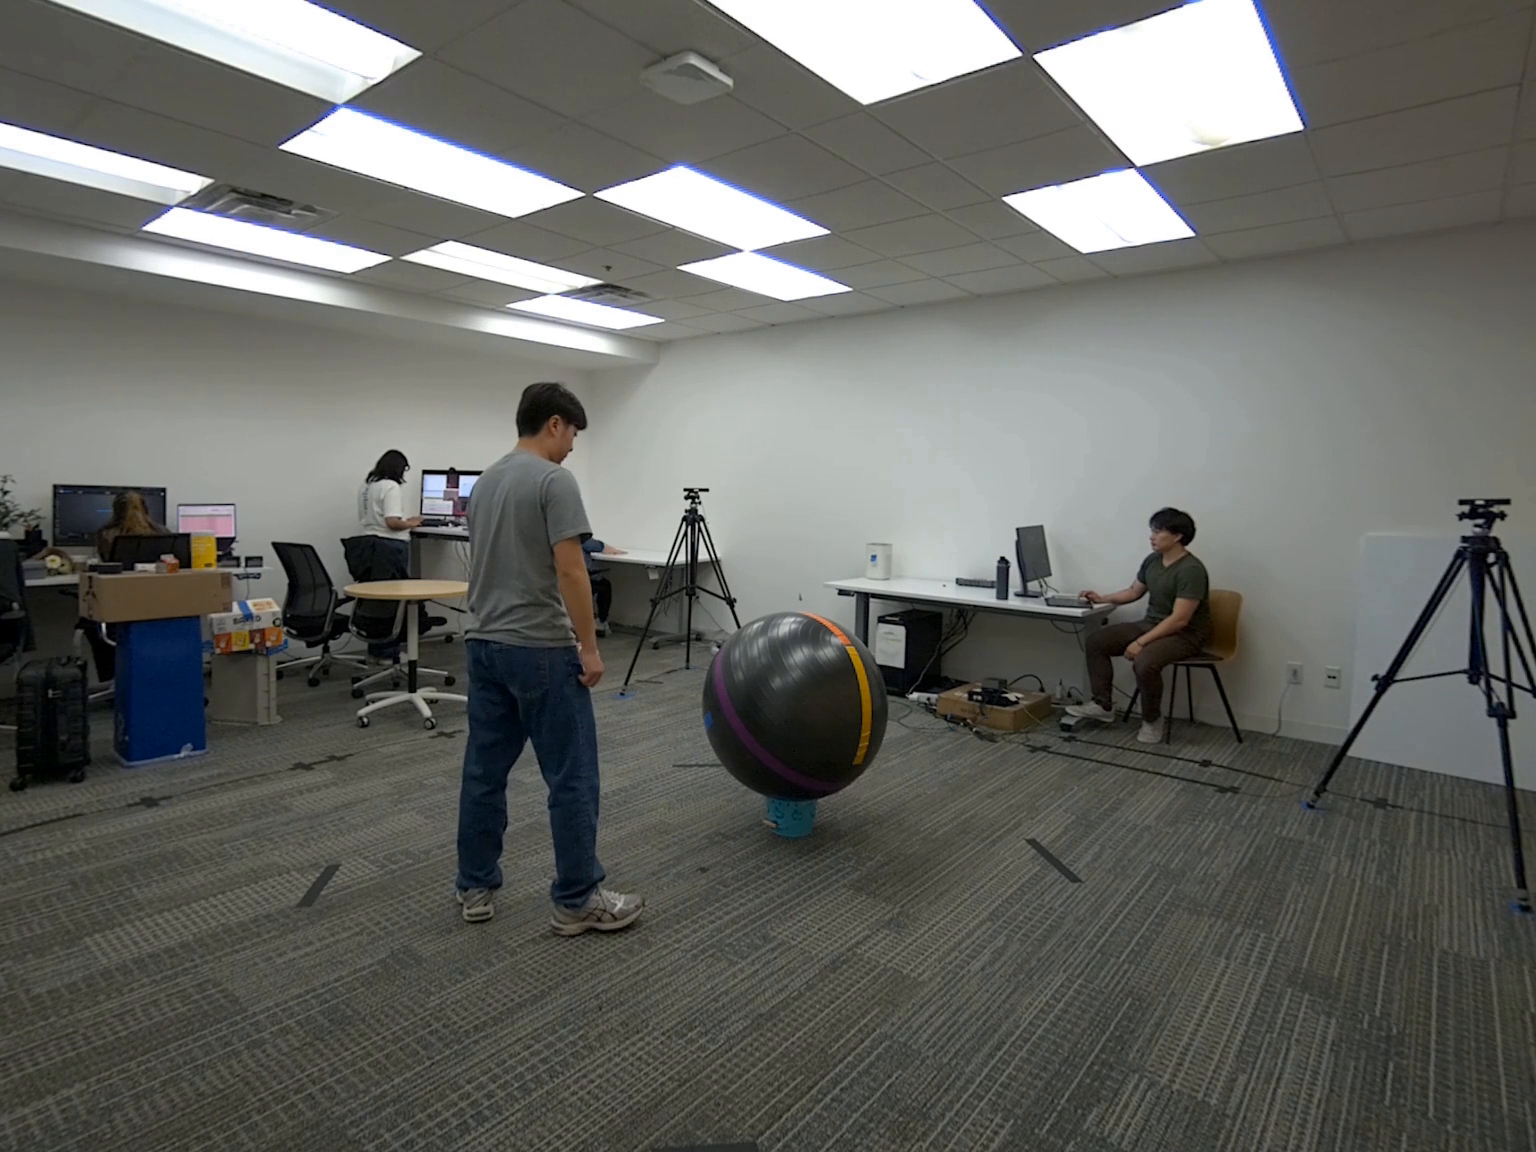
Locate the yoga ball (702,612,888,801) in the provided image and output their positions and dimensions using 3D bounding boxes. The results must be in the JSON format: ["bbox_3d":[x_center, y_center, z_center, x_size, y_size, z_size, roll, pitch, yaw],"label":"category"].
[{"bbox_3d":[0.104,0.527,3.495,0.757,0.756,0.761,1,4,-2],"label":"yoga ball"}]
